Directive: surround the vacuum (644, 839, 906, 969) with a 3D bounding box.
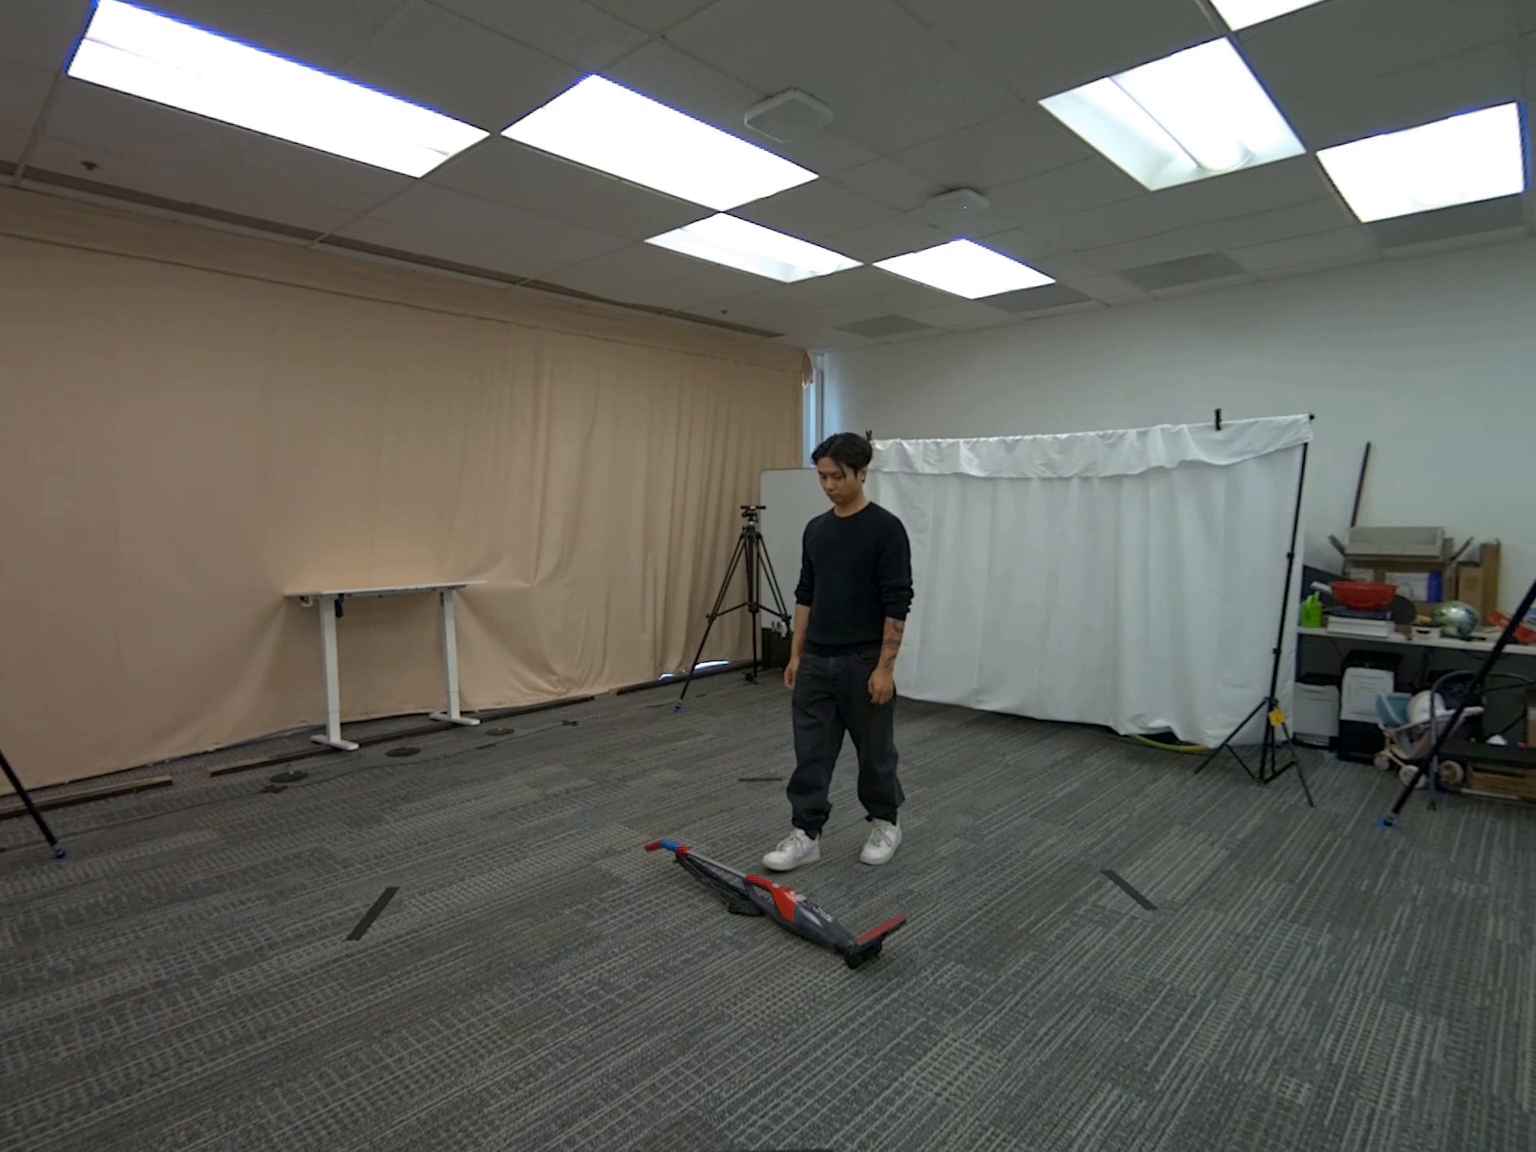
[{"bbox_3d":[-0.071,1.091,2.909,1.084,0.144,0.245,3,3,43],"label":"vacuum"}]
